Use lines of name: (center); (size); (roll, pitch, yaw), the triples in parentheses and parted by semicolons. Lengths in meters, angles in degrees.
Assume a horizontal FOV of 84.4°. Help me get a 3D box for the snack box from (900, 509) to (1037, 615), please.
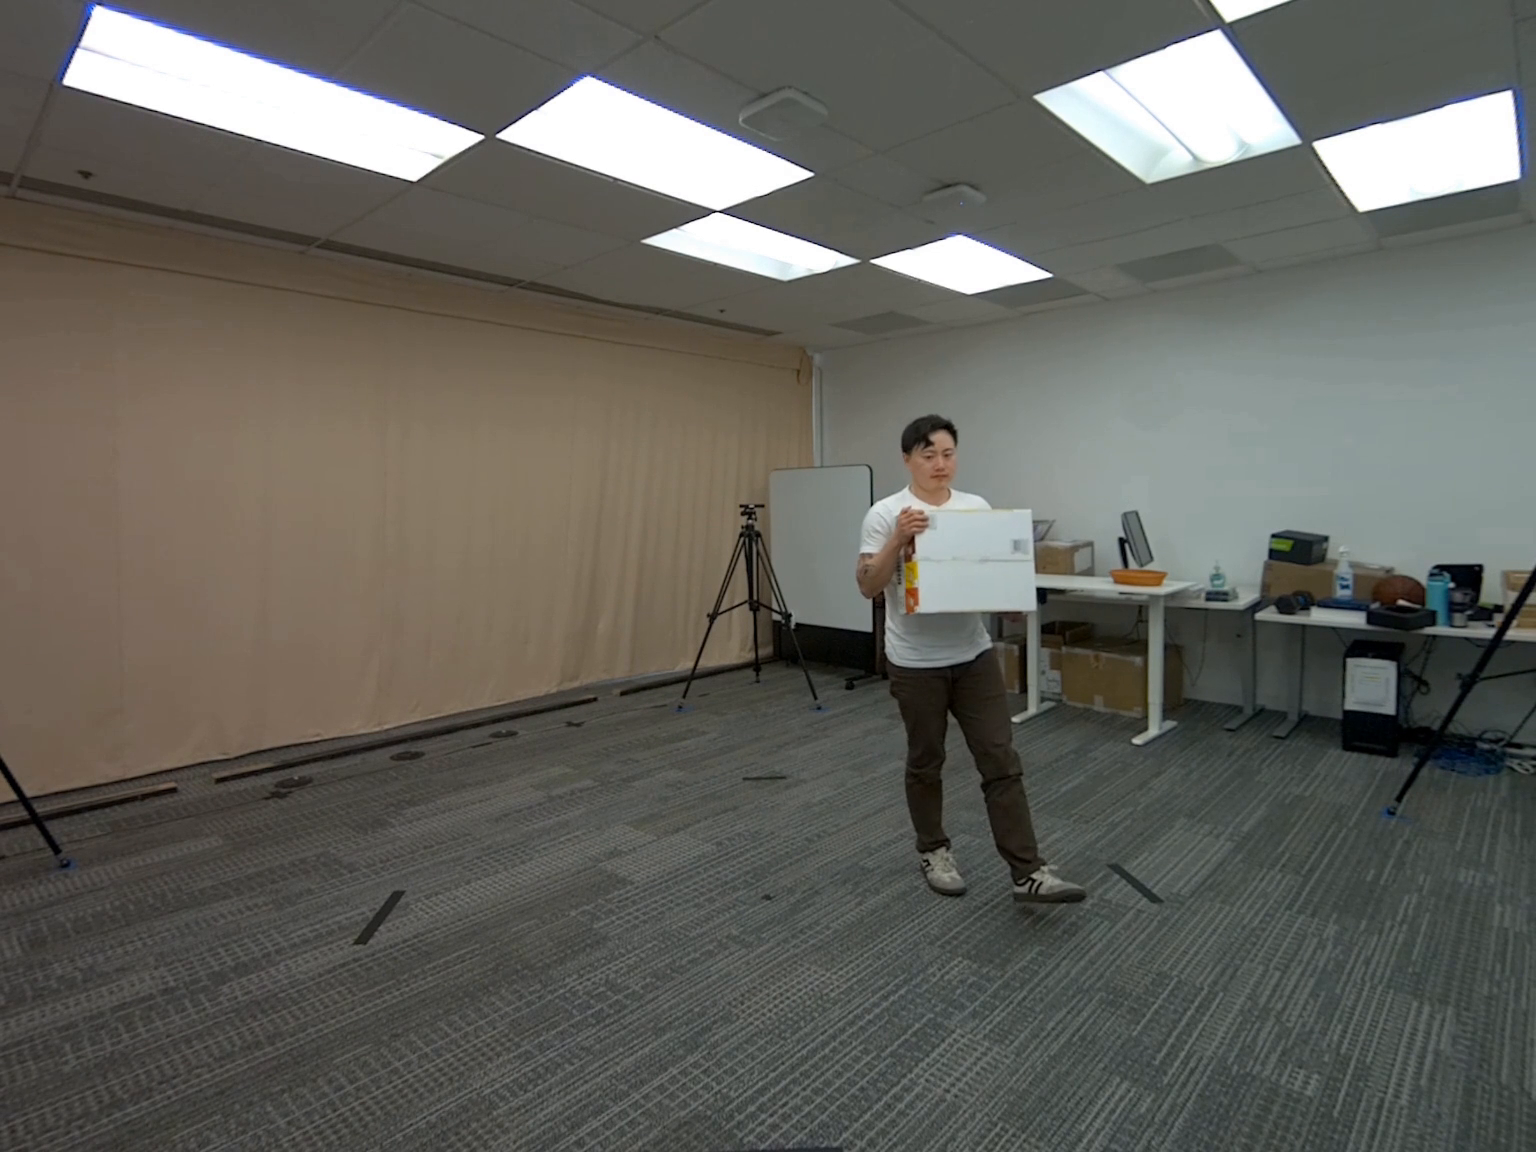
snack box: (0.657, -0.045, 2.817); (0.402, 0.341, 0.206); (-1, -4, -6)
